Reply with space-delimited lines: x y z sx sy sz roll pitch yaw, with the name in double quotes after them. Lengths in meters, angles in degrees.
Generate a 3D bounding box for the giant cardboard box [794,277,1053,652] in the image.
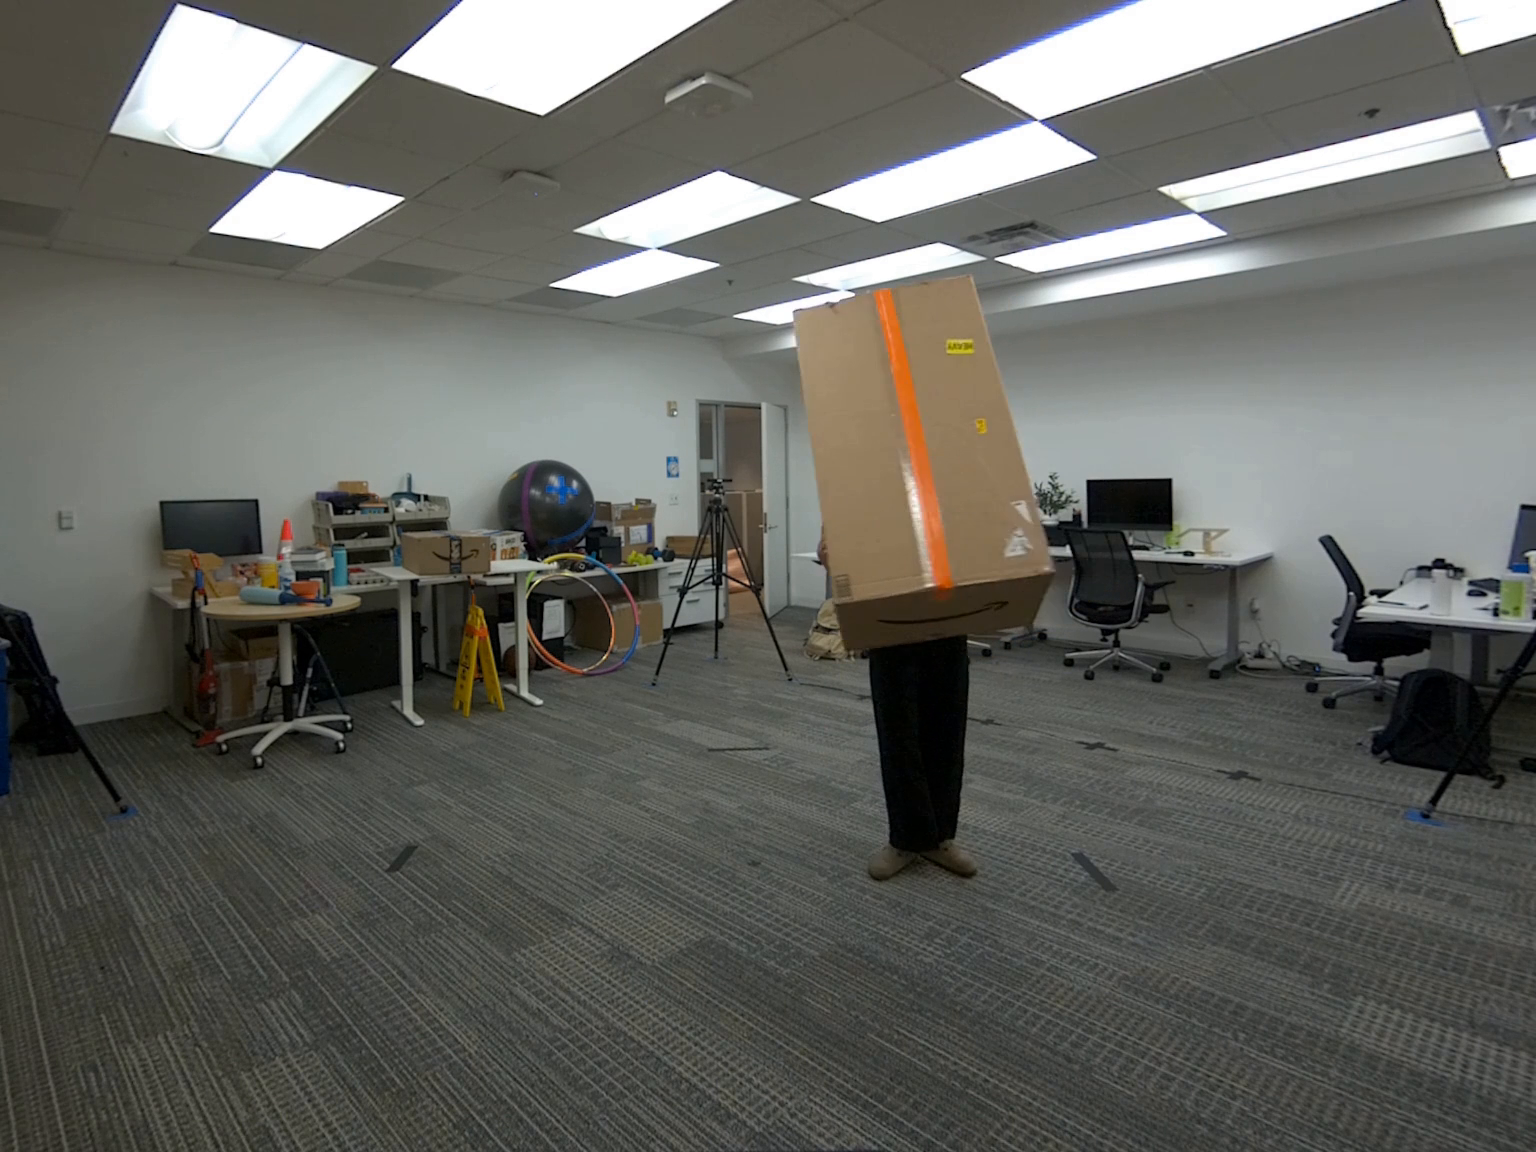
0.438 -0.353 2.665 0.581 1.050 0.414 -9 -25 6 "giant cardboard box"
